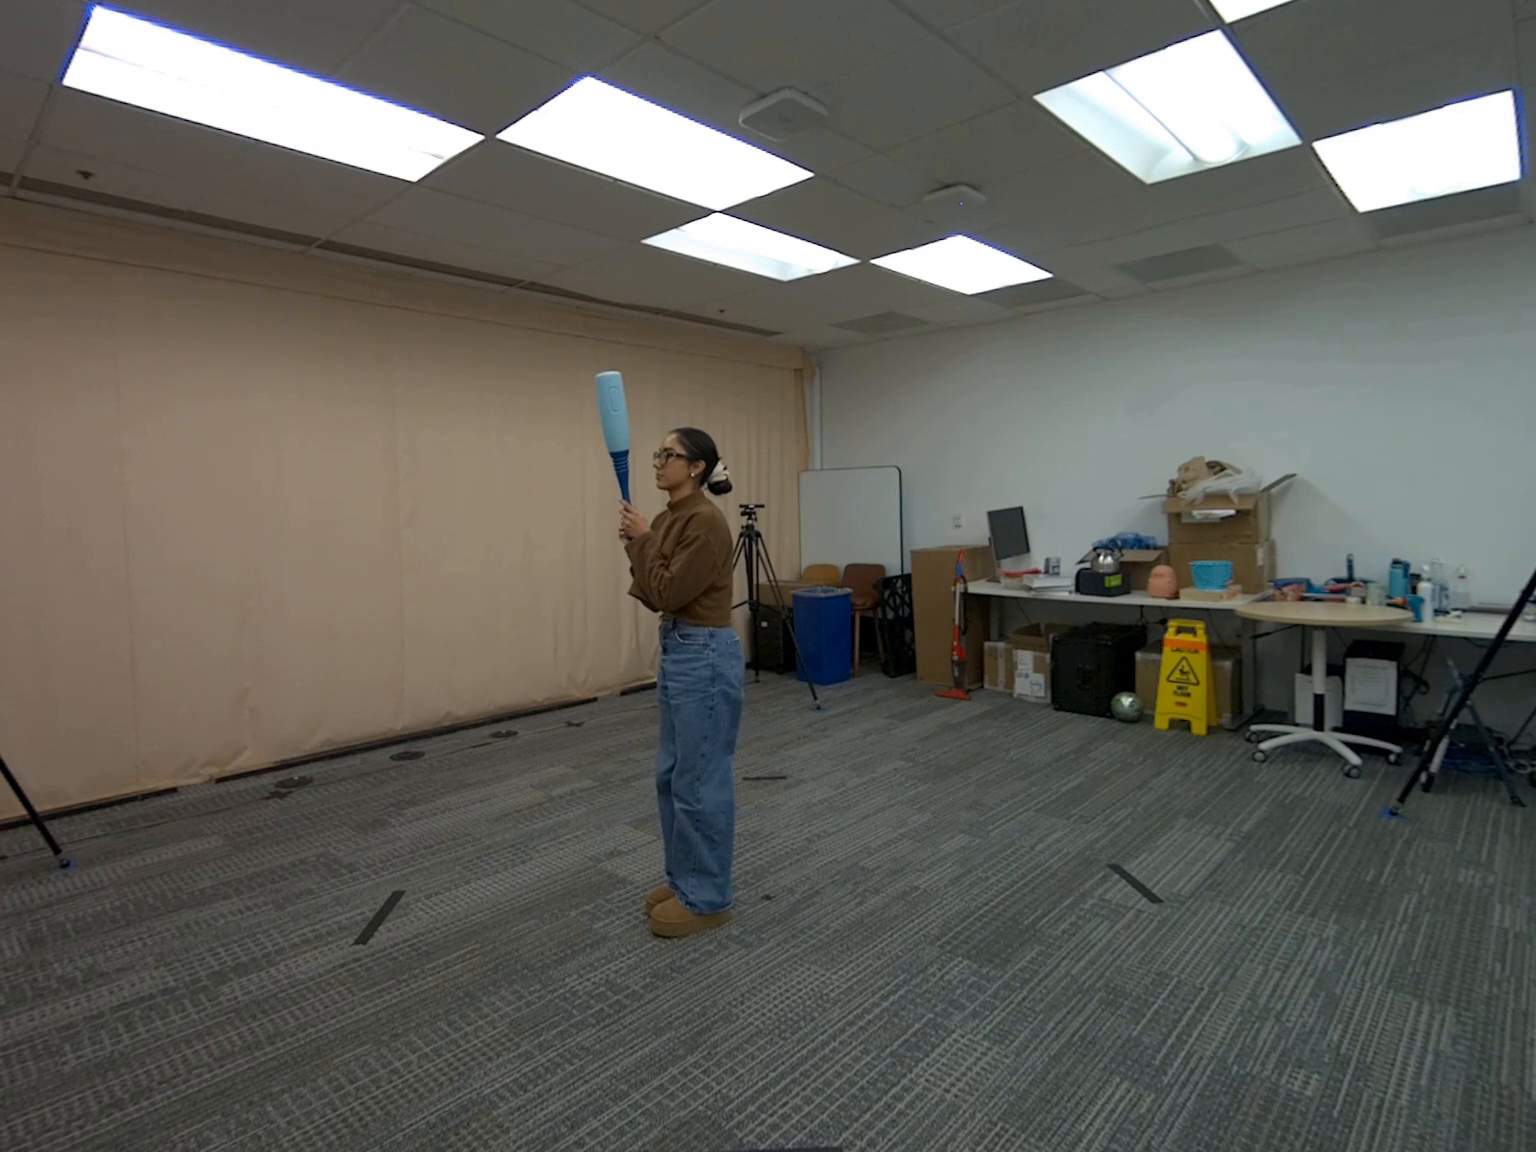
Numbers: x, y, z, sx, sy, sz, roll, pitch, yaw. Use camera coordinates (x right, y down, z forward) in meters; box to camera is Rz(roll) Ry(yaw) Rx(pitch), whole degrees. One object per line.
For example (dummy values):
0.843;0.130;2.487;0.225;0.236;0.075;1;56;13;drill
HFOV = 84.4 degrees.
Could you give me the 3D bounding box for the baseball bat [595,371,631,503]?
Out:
-0.482;-0.386;2.719;0.089;0.538;0.090;-6;11;-1;baseball bat
